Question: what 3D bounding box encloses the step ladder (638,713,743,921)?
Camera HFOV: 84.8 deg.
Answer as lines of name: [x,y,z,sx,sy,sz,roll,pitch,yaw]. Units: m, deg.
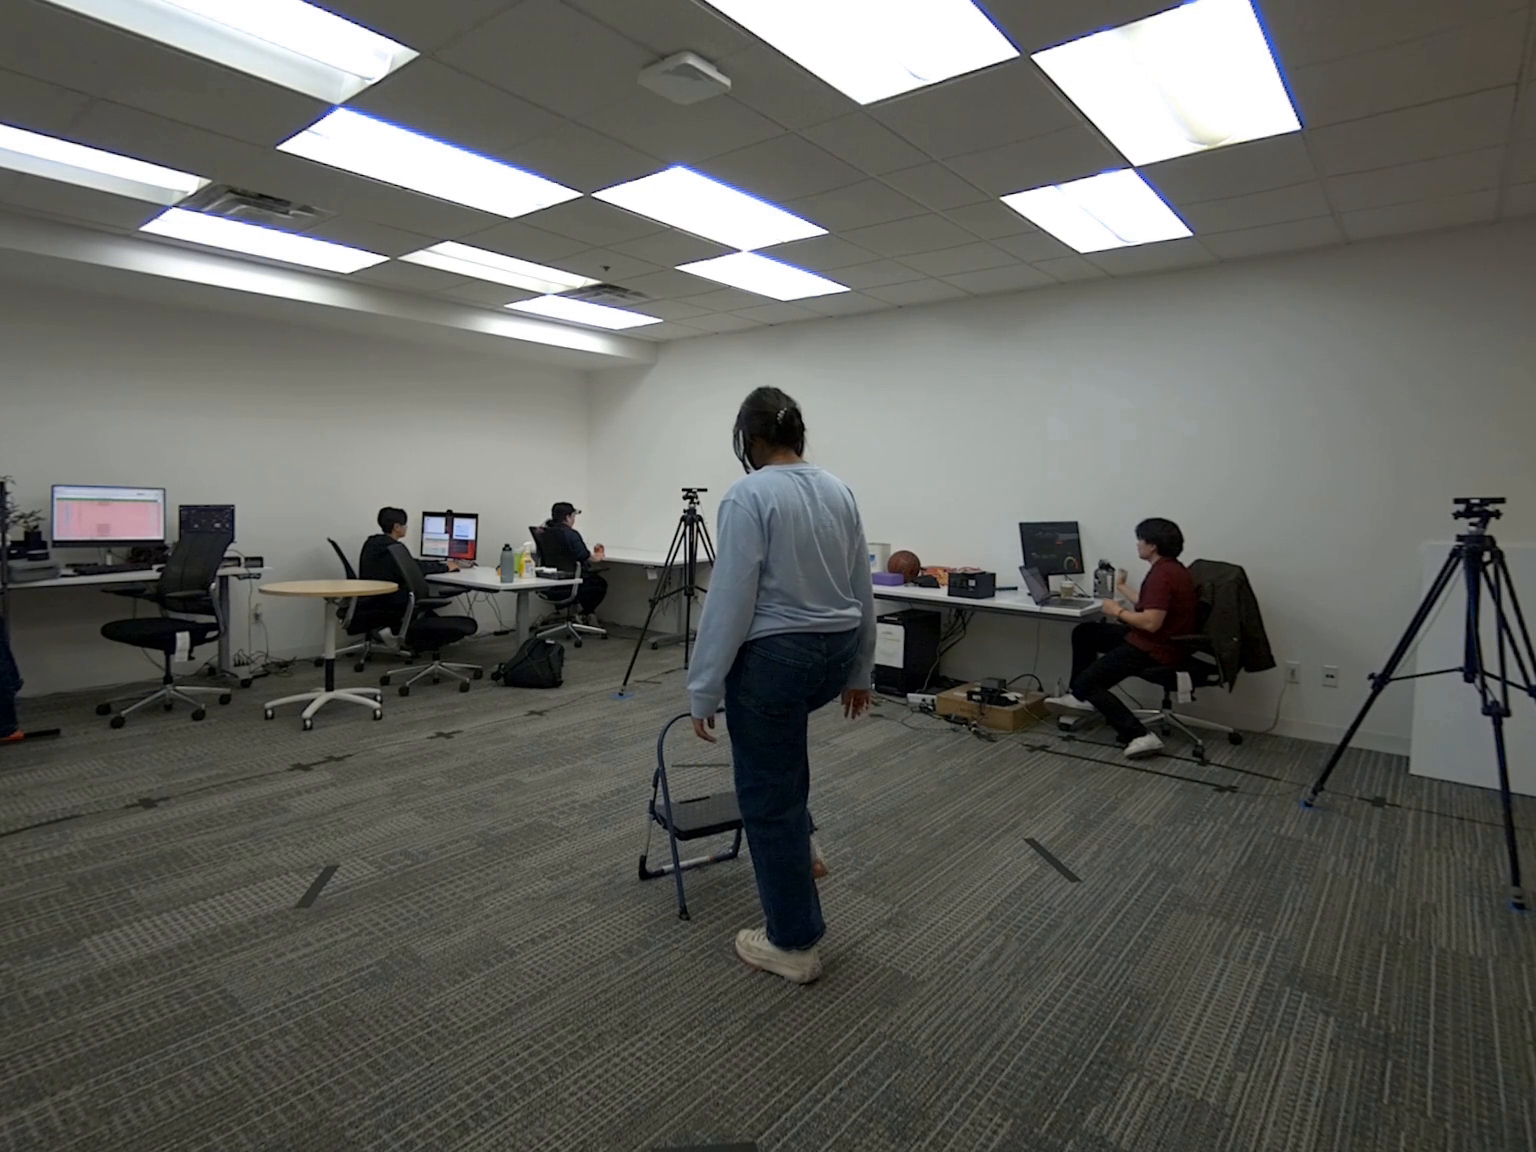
step ladder: [-0.200,0.780,2.976,0.418,0.604,0.360,-1,4,-34]
